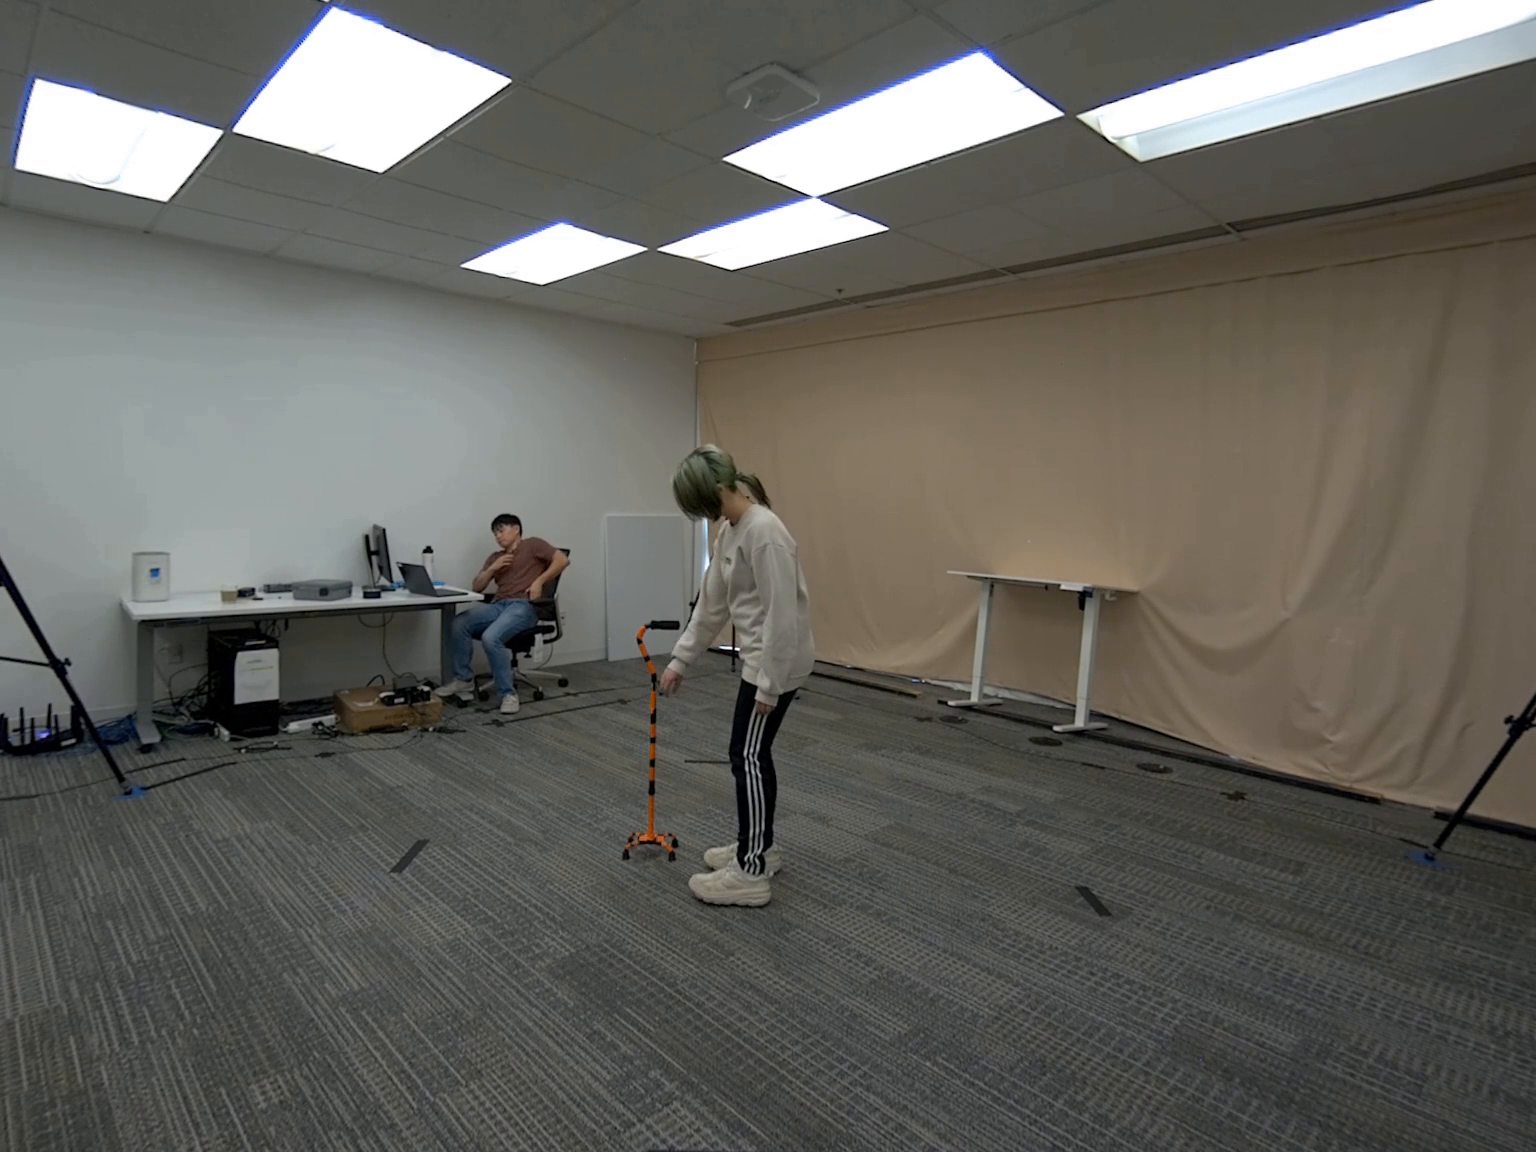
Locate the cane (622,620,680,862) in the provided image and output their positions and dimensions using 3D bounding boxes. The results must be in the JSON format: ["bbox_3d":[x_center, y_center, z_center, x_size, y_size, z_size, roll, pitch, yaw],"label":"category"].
[{"bbox_3d":[-0.452,0.623,3.263,0.206,0.906,0.152,2,2,0],"label":"cane"}]
